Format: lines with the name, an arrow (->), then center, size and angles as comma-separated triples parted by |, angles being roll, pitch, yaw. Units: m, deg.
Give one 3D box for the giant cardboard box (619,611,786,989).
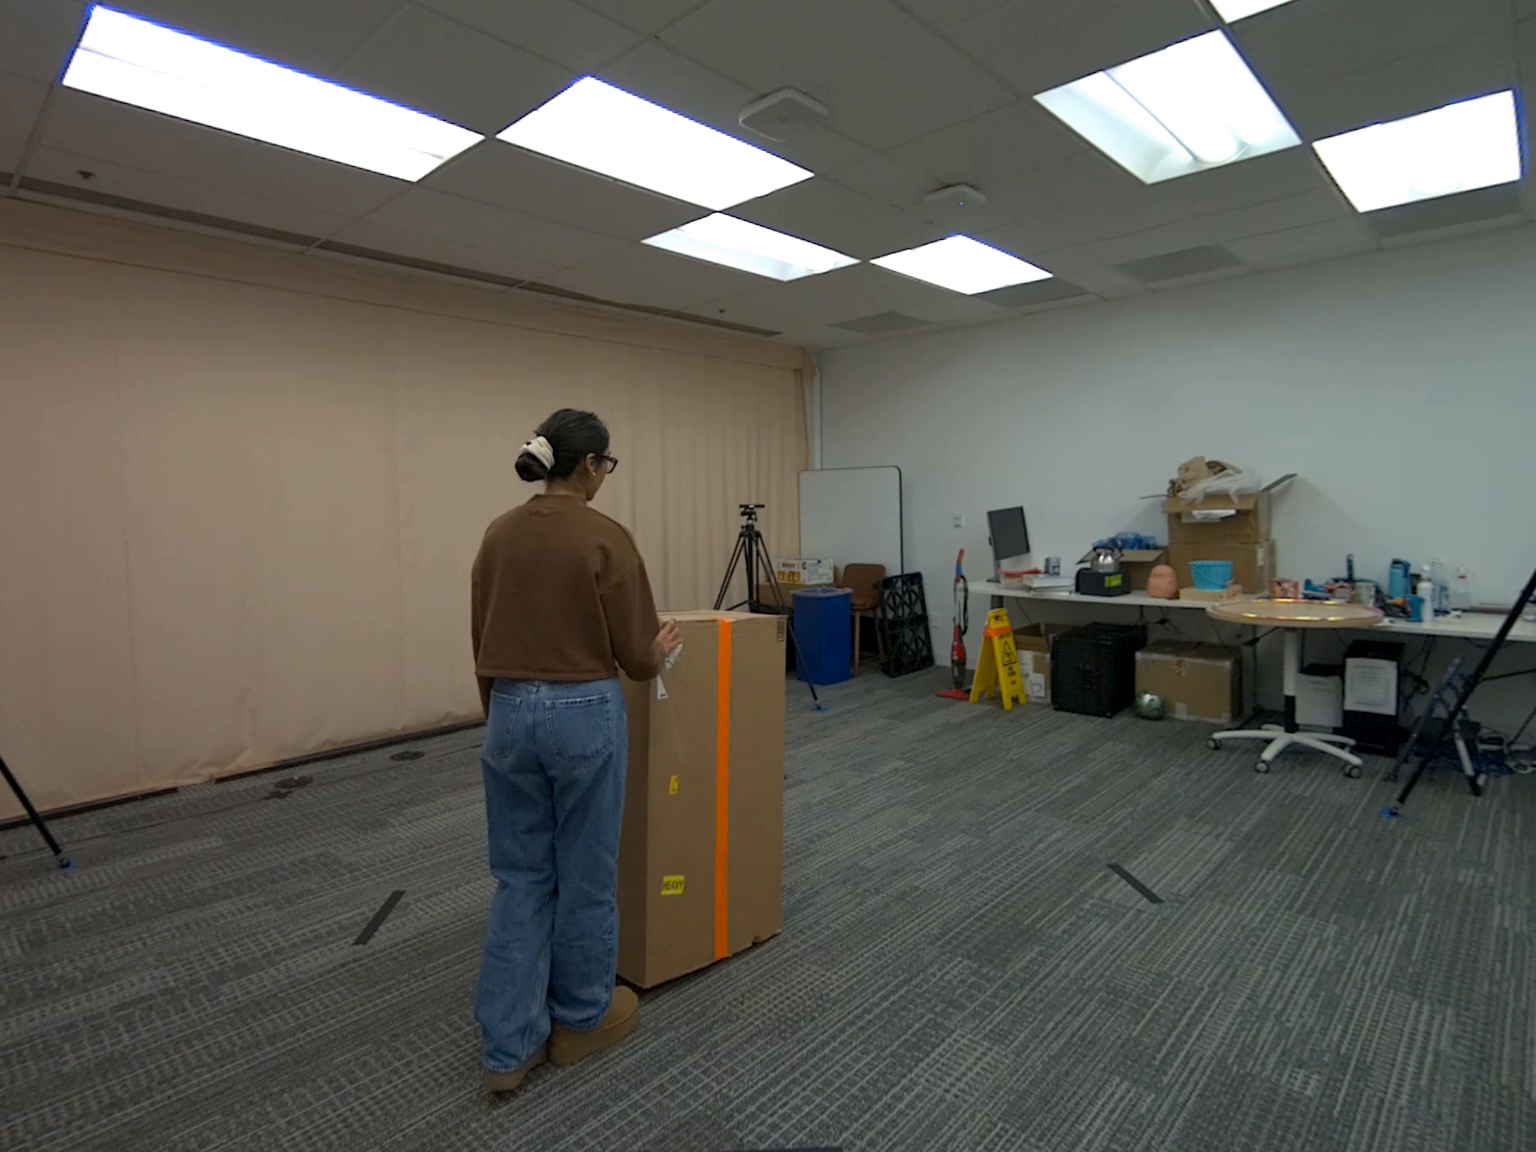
giant cardboard box -> -0.288, 0.642, 2.699 | 0.440, 1.027, 0.559 | 0, -2, 44
